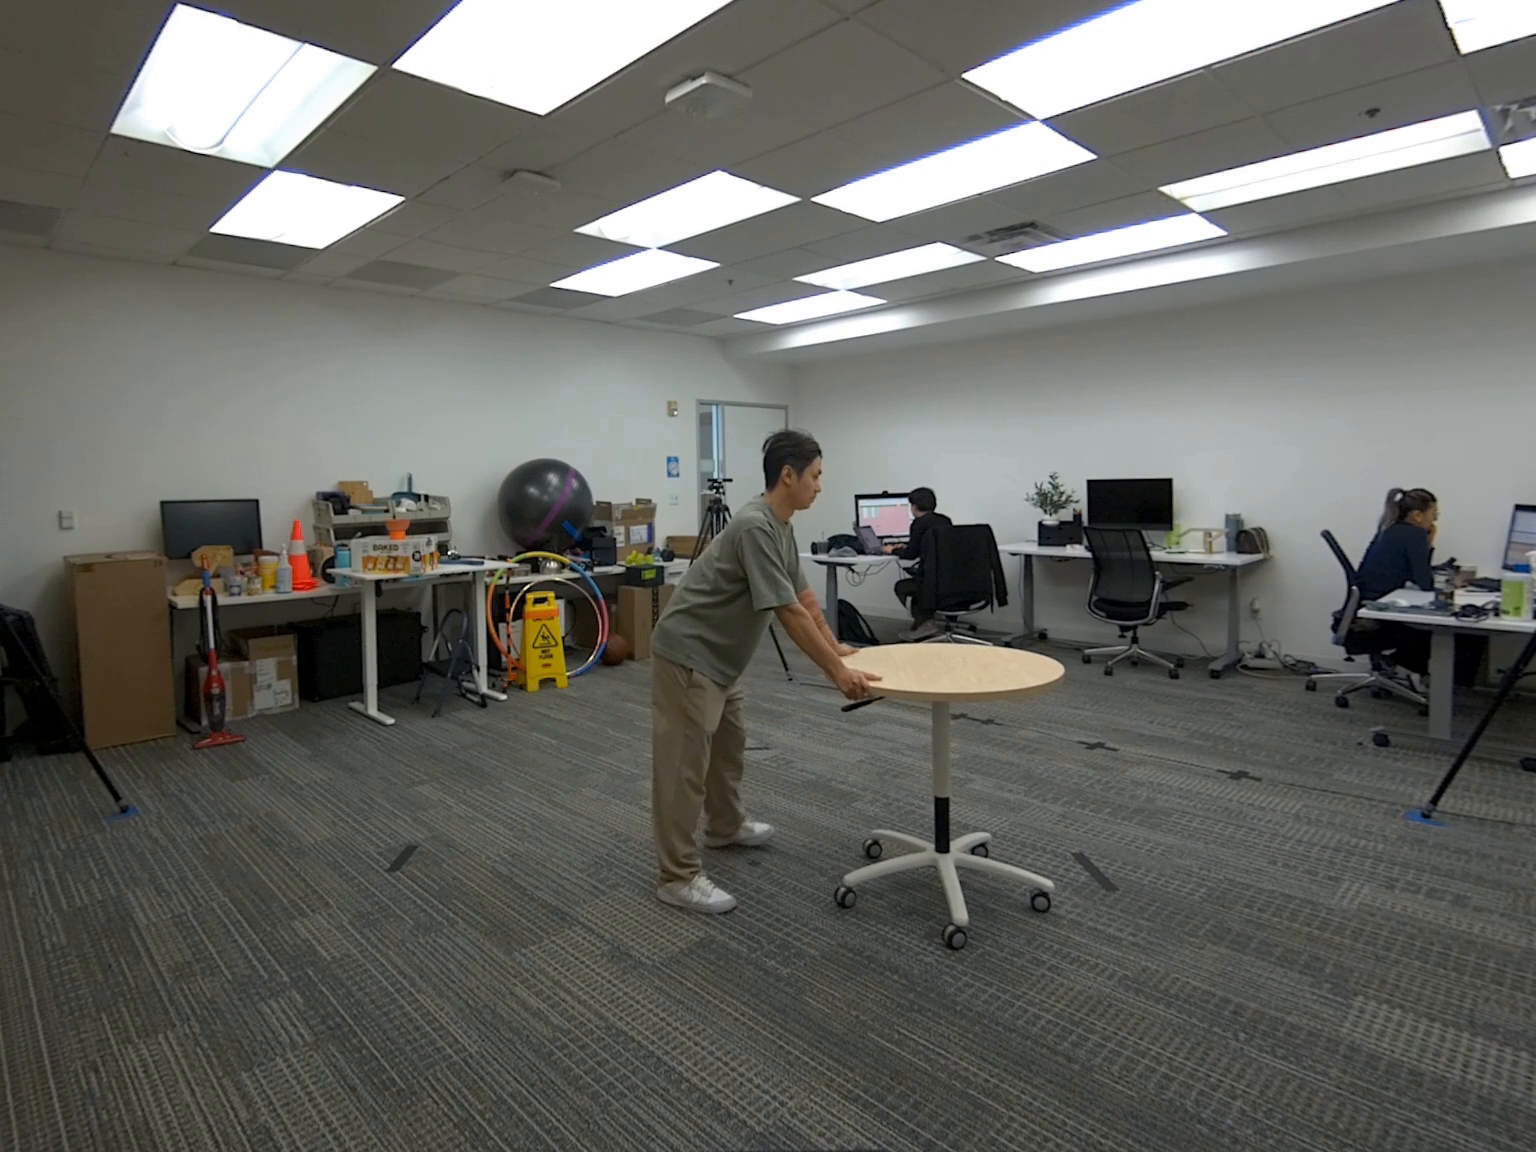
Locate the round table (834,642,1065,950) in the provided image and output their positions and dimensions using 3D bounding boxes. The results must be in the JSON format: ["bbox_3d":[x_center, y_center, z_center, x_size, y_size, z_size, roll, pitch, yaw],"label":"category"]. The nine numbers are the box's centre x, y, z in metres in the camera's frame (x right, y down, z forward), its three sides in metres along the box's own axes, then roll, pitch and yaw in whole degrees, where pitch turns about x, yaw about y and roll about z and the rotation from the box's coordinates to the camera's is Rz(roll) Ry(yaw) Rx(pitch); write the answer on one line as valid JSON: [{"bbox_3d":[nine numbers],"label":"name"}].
[{"bbox_3d":[0.585,0.675,2.835,0.784,0.783,0.789,-2,5,-2],"label":"round table"}]
